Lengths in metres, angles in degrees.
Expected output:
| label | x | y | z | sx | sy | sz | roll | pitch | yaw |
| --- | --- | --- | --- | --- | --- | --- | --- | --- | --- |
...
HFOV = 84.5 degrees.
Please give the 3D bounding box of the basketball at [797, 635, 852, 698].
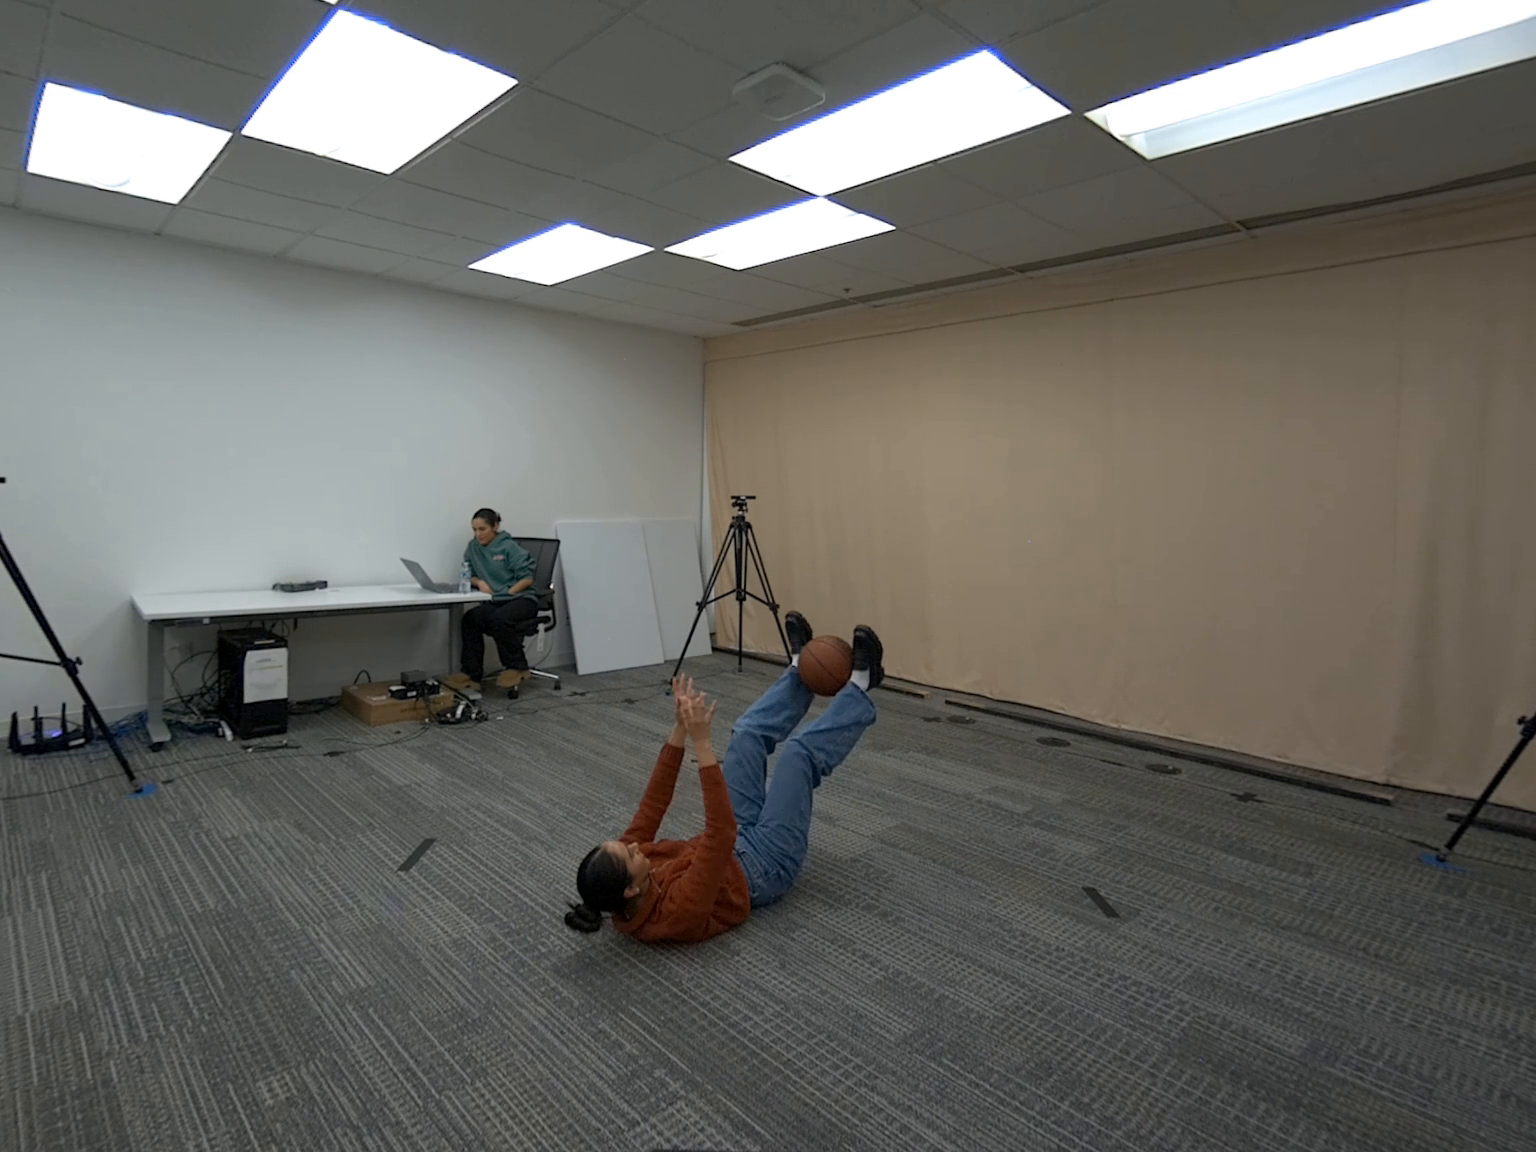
| label | x | y | z | sx | sy | sz | roll | pitch | yaw |
| --- | --- | --- | --- | --- | --- | --- | --- | --- | --- |
| basketball | 0.222 | 0.352 | 3.276 | 0.236 | 0.234 | 0.237 | 0 | 8 | -1 |
